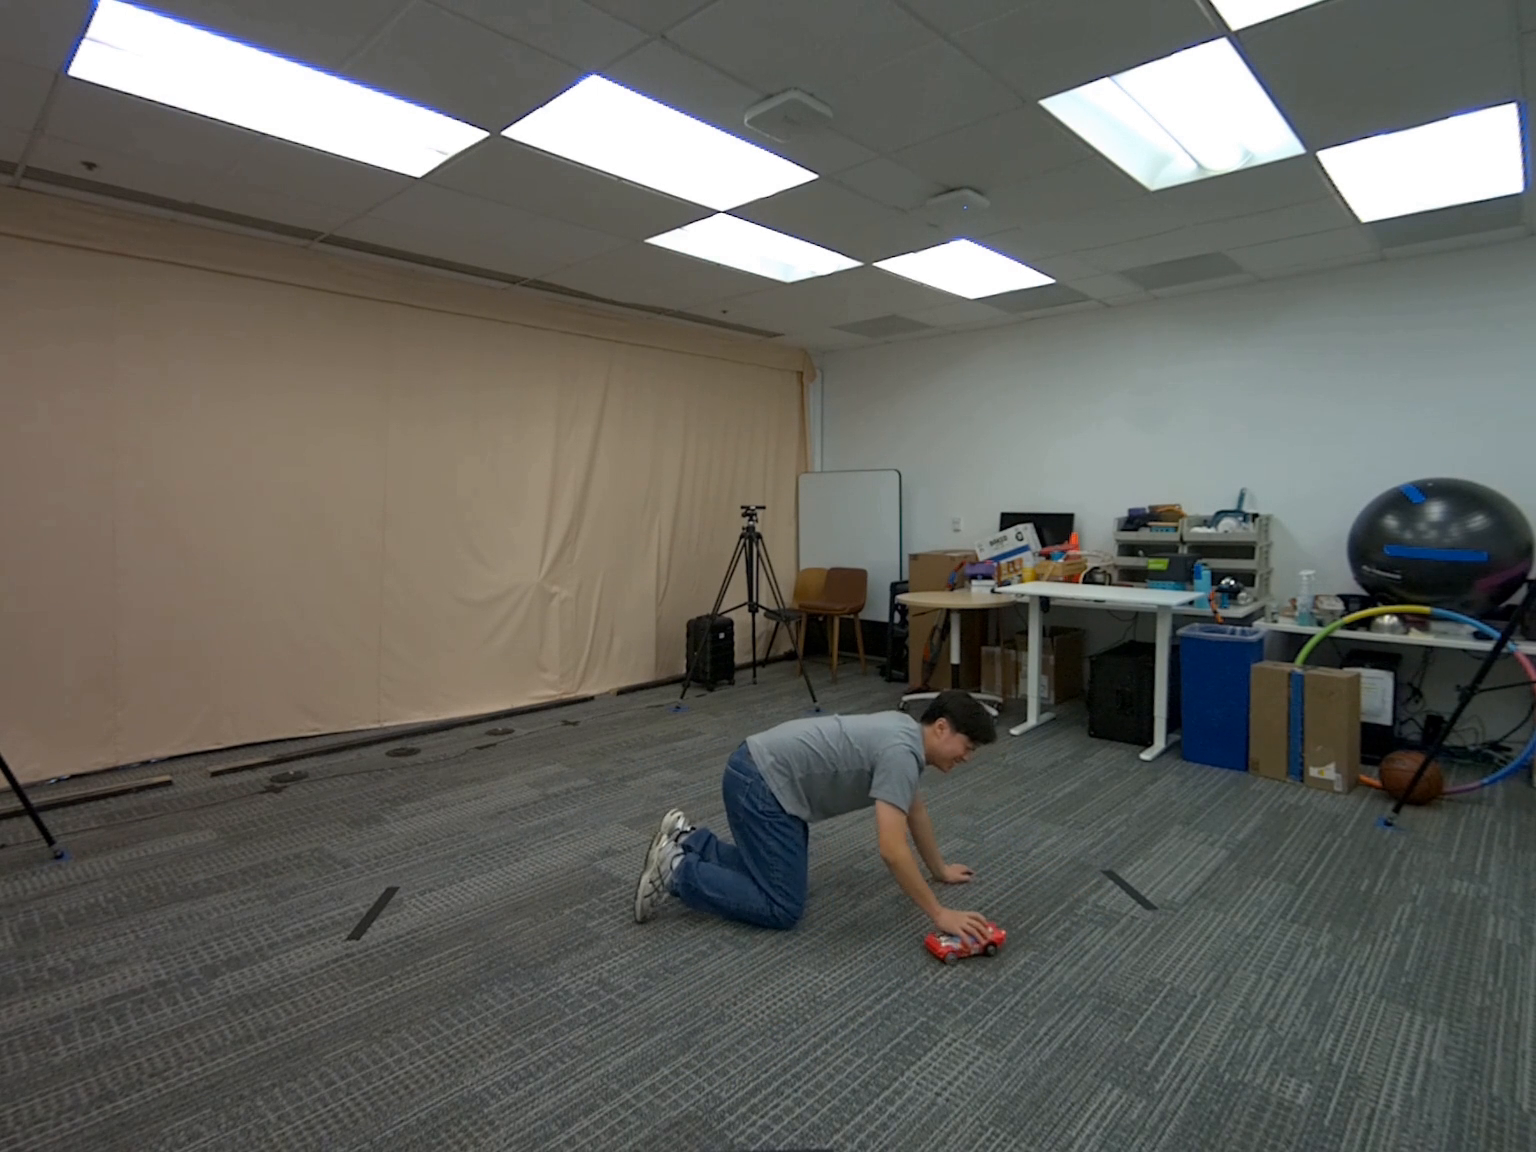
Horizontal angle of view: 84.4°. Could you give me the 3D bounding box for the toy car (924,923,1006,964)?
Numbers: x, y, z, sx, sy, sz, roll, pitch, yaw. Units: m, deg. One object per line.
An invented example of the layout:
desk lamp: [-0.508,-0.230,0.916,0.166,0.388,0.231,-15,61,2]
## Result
toy car: [0.629,1.145,2.622,0.251,0.082,0.133,-14,9,-17]
